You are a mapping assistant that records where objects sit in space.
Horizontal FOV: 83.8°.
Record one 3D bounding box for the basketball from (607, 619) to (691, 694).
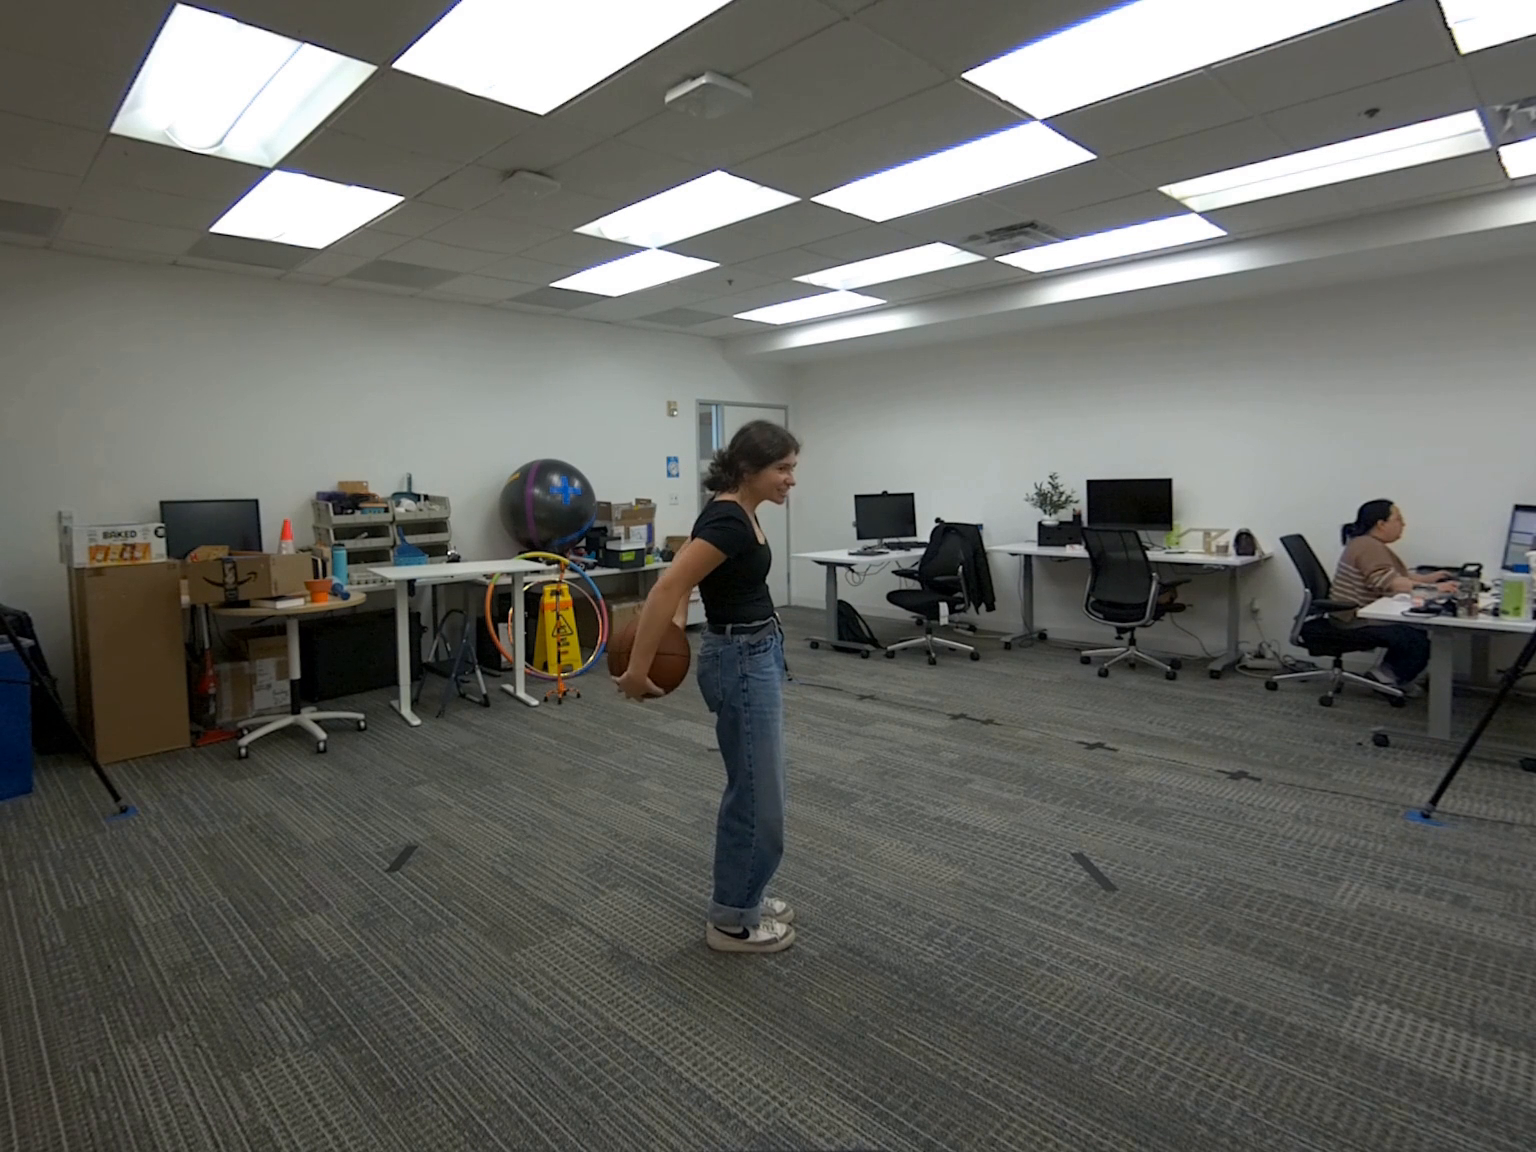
[{"bbox_3d":[-0.319,0.221,2.437,0.236,0.235,0.237,-1,5,-2],"label":"basketball"}]
